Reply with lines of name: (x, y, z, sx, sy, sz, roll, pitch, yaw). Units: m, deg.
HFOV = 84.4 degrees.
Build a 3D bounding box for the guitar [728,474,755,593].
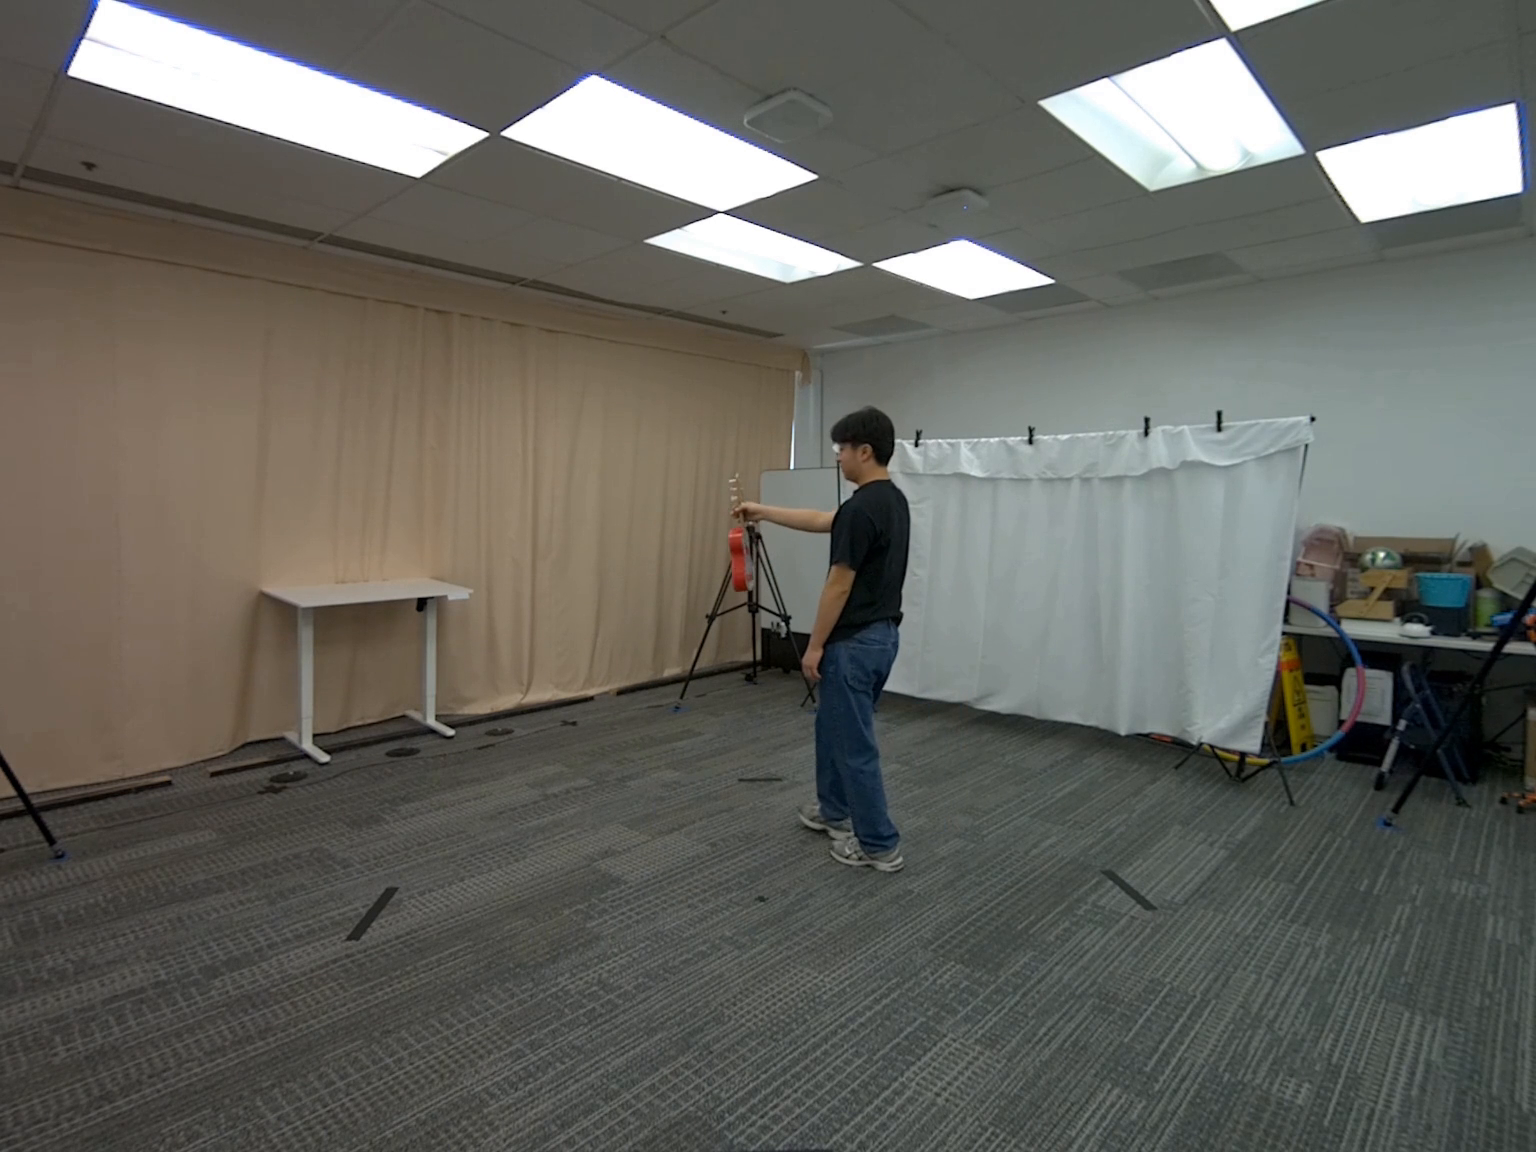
guitar: (-0.117, -0.179, 3.627, 0.071, 0.499, 0.191, -6, -4, 6)
